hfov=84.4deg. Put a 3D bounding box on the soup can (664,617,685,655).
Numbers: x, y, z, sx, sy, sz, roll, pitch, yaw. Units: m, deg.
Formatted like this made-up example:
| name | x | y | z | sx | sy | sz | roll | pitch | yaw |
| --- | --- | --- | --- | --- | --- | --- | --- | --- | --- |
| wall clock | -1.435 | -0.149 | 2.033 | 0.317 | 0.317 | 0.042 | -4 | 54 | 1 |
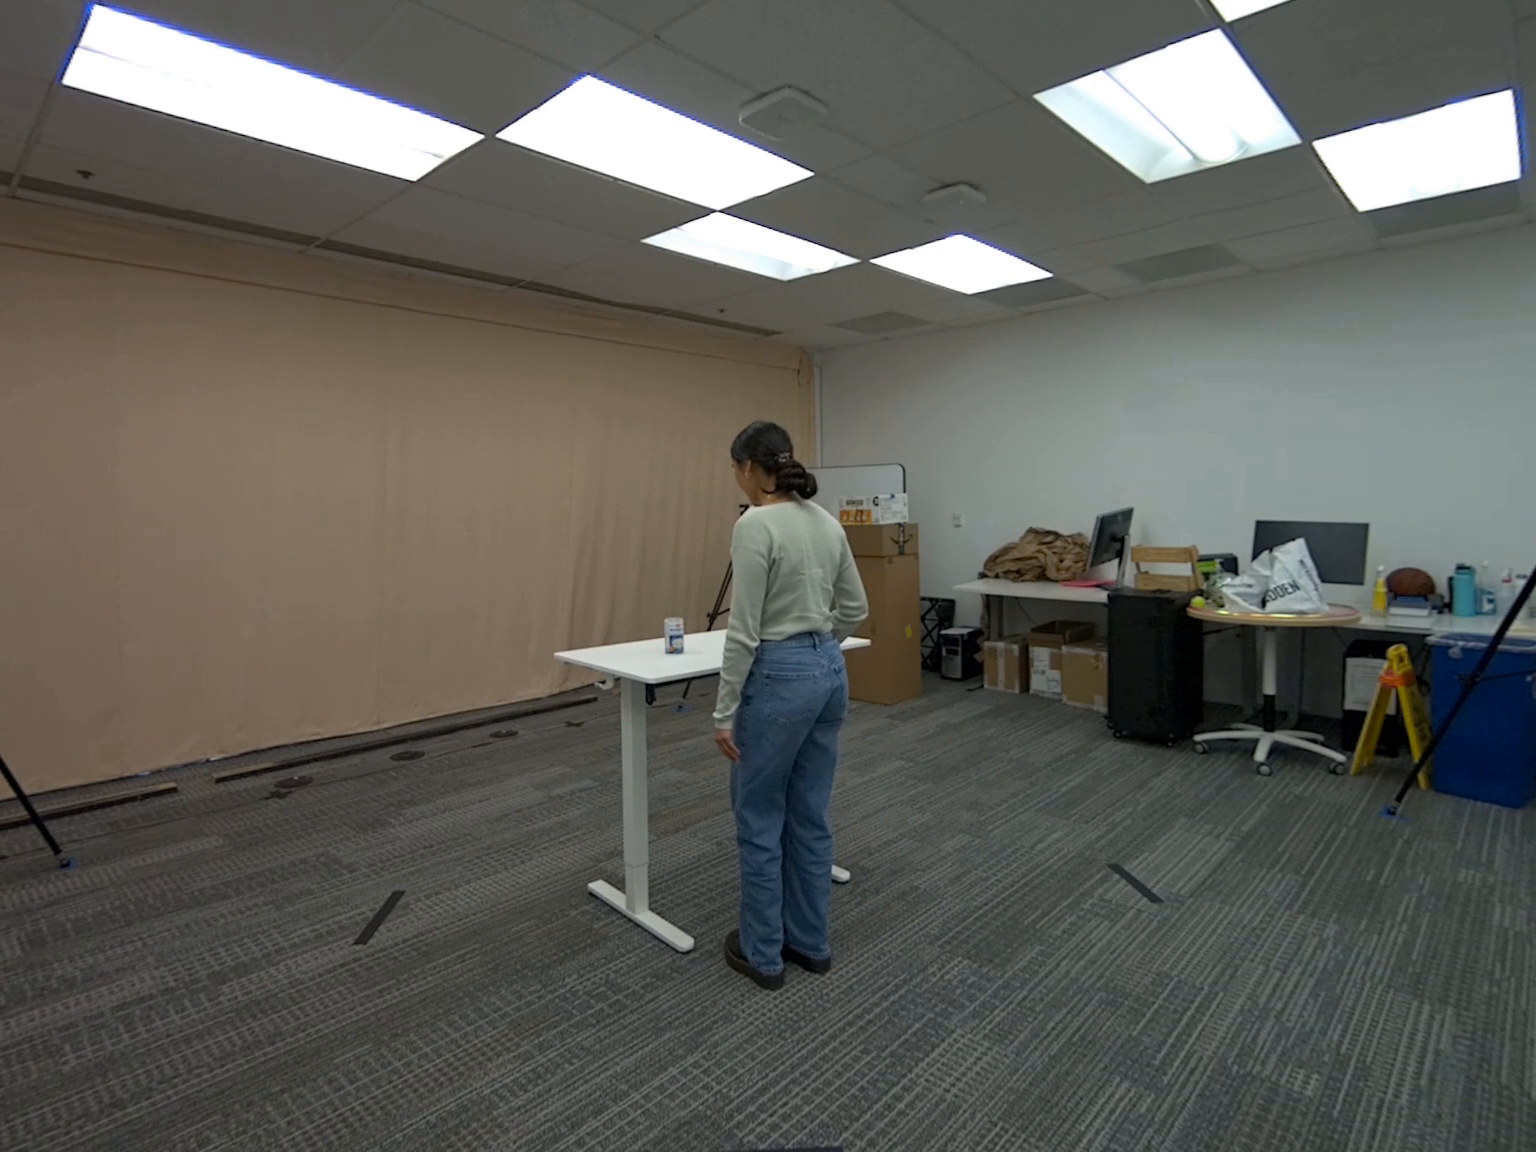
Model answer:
| name | x | y | z | sx | sy | sz | roll | pitch | yaw |
| --- | --- | --- | --- | --- | --- | --- | --- | --- | --- |
| soup can | -0.330 | 0.212 | 2.914 | 0.067 | 0.121 | 0.067 | -3 | 6 | -2 |
